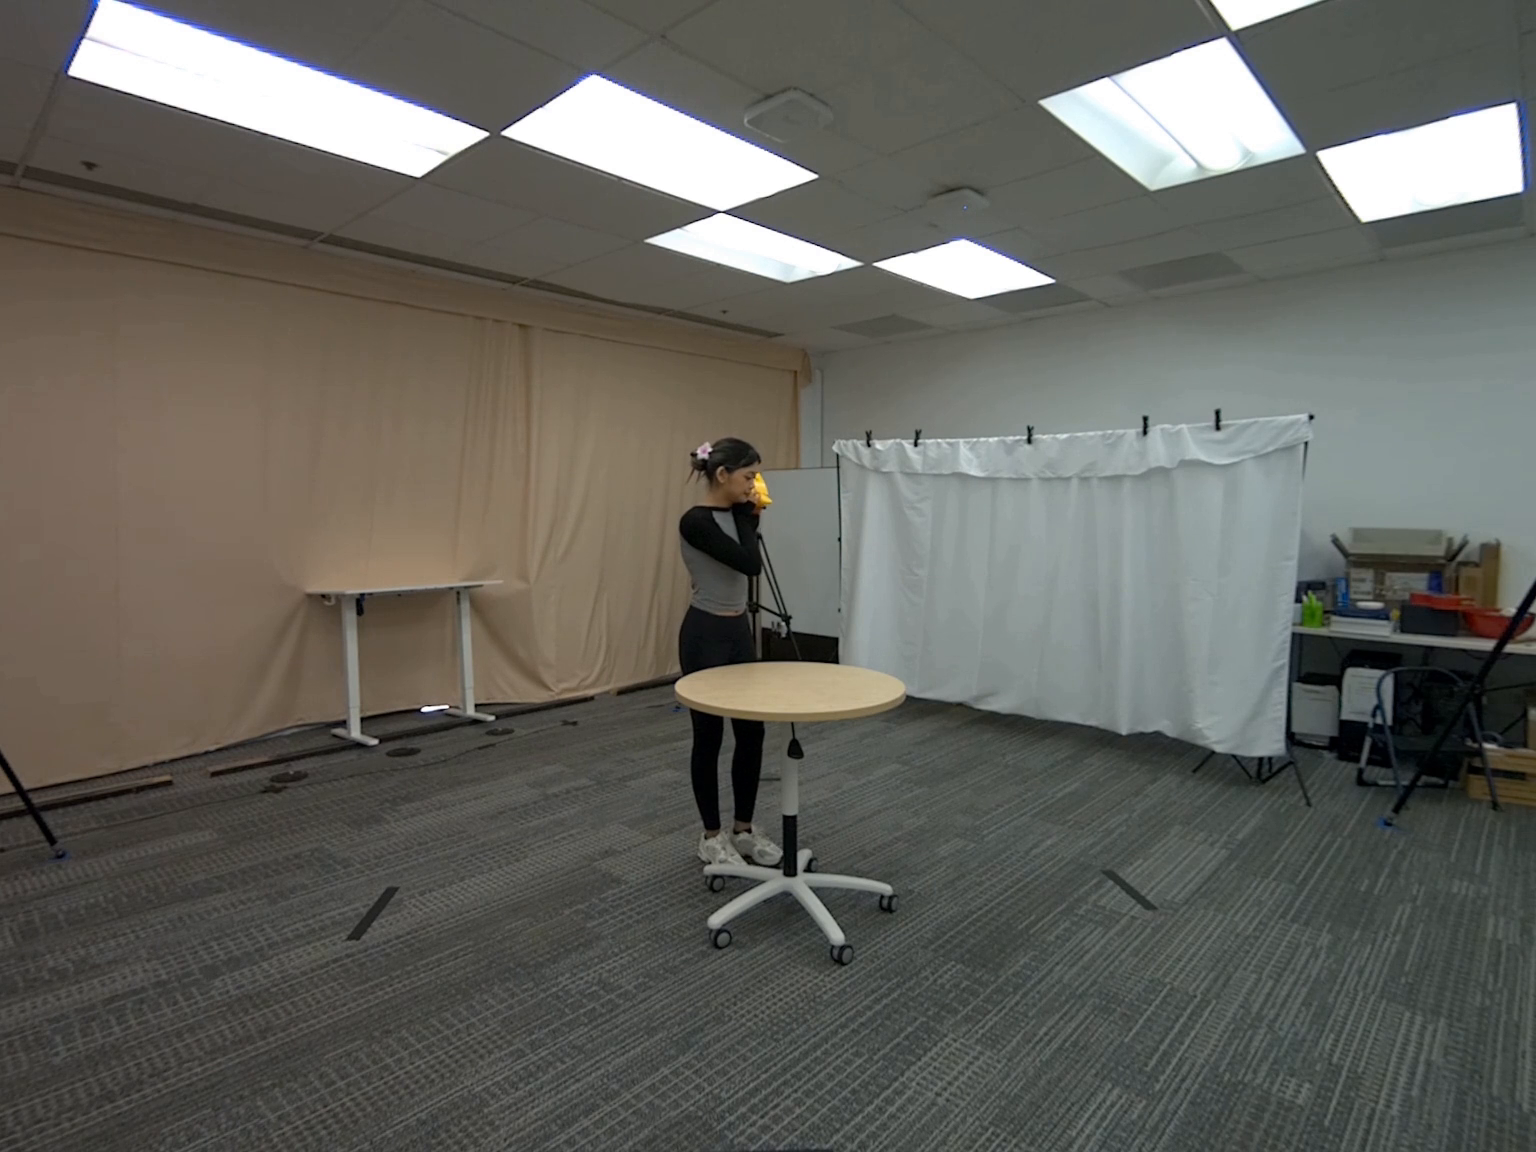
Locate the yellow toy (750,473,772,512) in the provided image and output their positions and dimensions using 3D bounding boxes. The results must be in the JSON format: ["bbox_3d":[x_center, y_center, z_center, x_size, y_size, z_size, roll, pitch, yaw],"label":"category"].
[{"bbox_3d":[-0.088,-0.403,3.404,0.197,0.231,0.200,-8,-3,21],"label":"yellow toy"}]
